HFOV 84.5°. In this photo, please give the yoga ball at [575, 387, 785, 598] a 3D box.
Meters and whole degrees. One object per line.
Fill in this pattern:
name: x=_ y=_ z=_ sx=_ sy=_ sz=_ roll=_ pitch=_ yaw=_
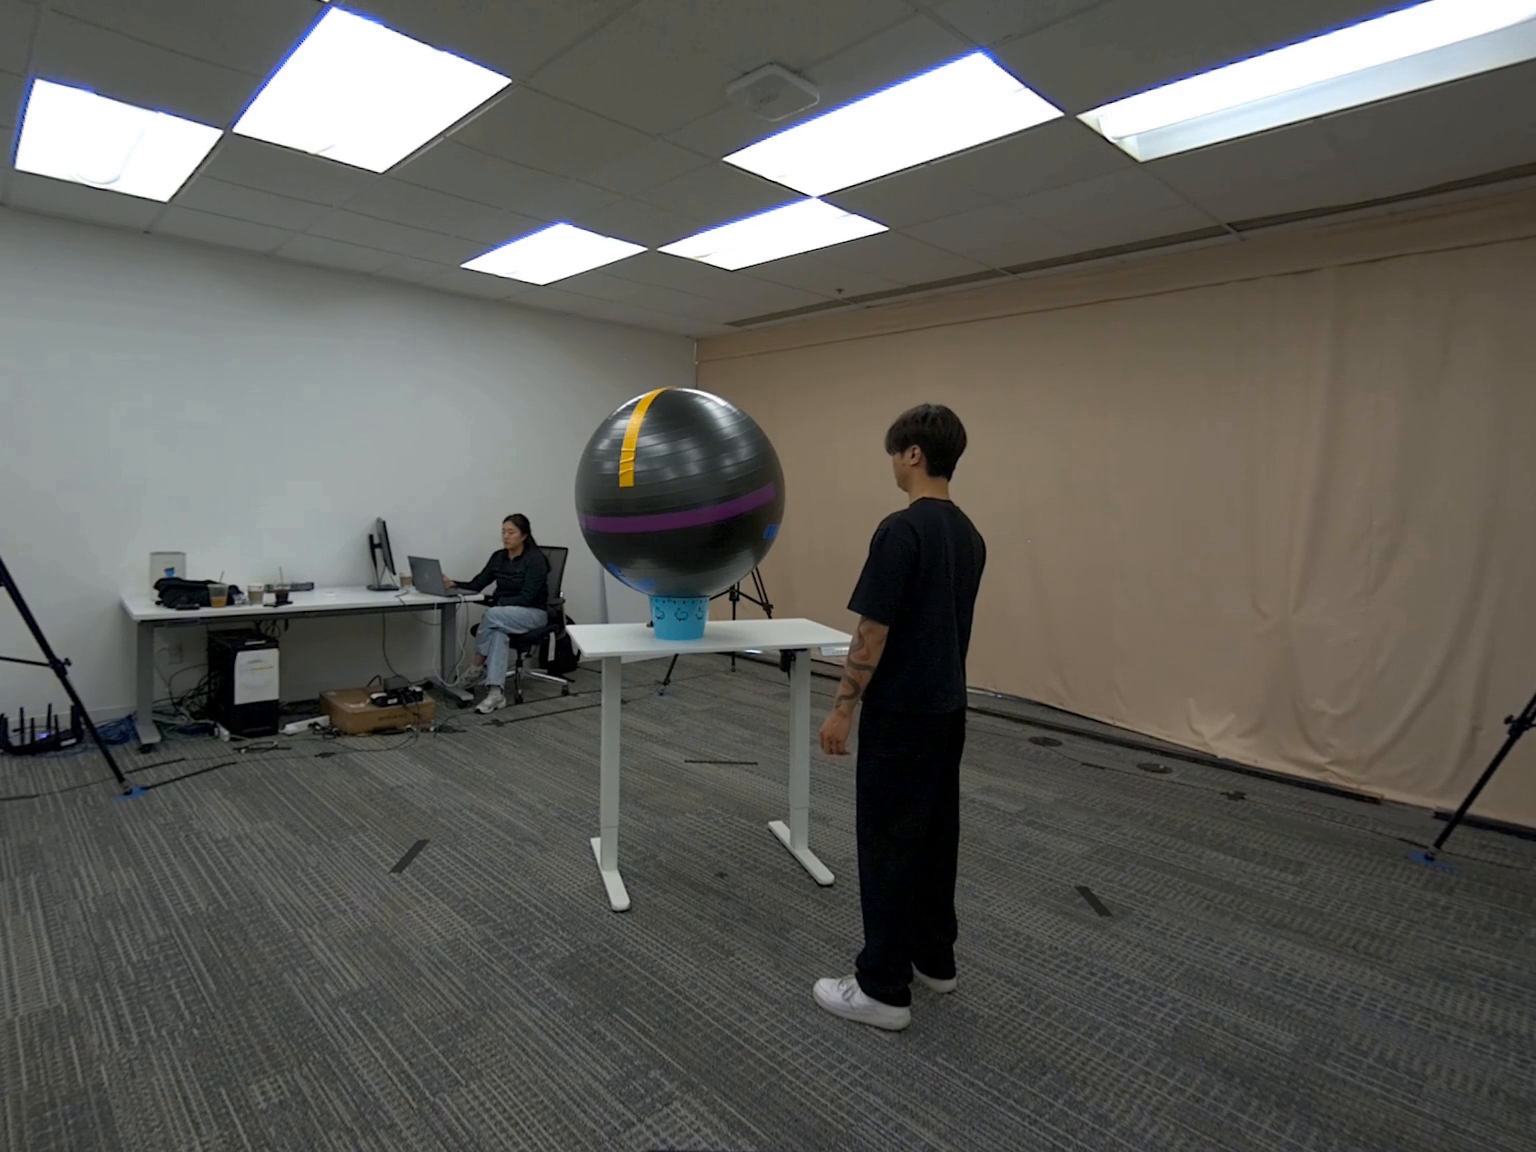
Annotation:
yoga ball: x=-0.318 y=-0.291 z=3.049 sx=0.757 sy=0.756 sz=0.761 roll=1 pitch=4 yaw=-1
